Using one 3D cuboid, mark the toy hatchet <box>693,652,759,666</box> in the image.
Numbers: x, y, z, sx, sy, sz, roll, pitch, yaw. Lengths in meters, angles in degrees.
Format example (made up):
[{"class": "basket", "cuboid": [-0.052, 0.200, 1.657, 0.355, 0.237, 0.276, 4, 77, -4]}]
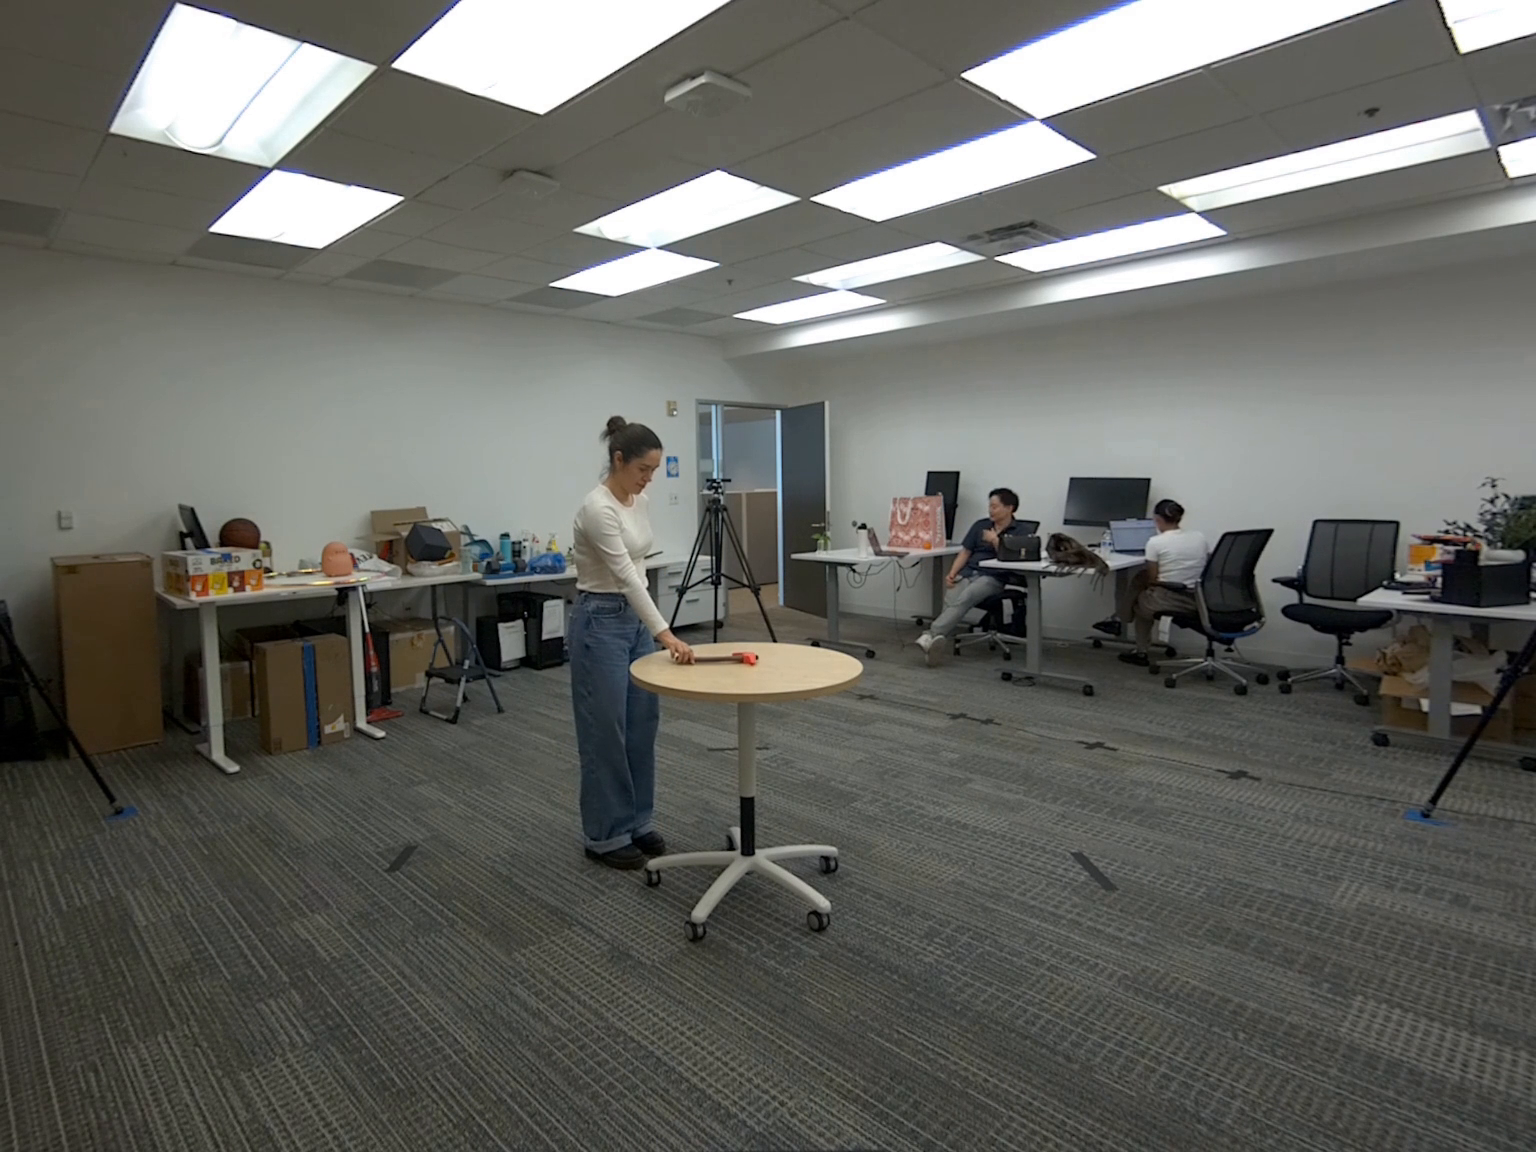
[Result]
[{"class": "toy hatchet", "cuboid": [-0.164, 0.270, 2.877, 0.273, 0.029, 0.130, 2, 10, 11]}]
